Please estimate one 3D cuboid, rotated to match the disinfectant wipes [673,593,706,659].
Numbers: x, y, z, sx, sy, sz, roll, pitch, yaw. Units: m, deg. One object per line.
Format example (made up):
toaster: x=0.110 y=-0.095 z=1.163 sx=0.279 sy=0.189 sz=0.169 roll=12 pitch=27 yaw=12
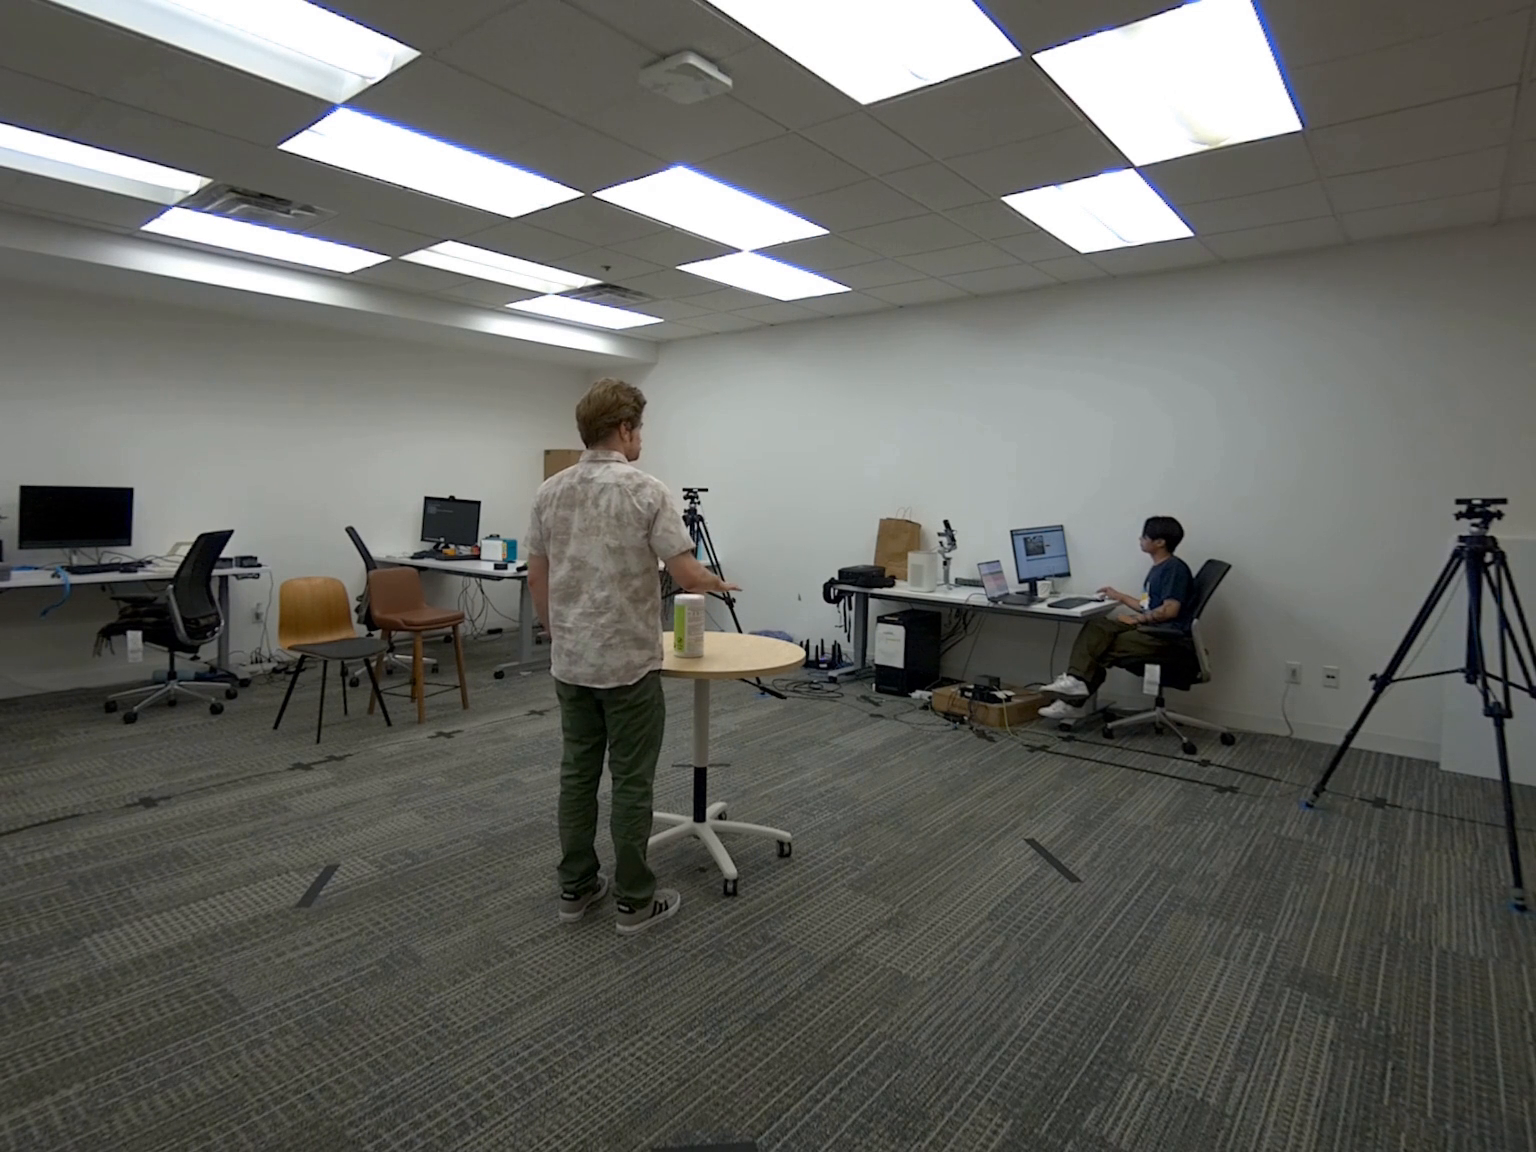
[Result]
disinfectant wipes: x=-0.287 y=0.176 z=3.046 sx=0.118 sy=0.217 sz=0.118 roll=0 pitch=4 yaw=-2
